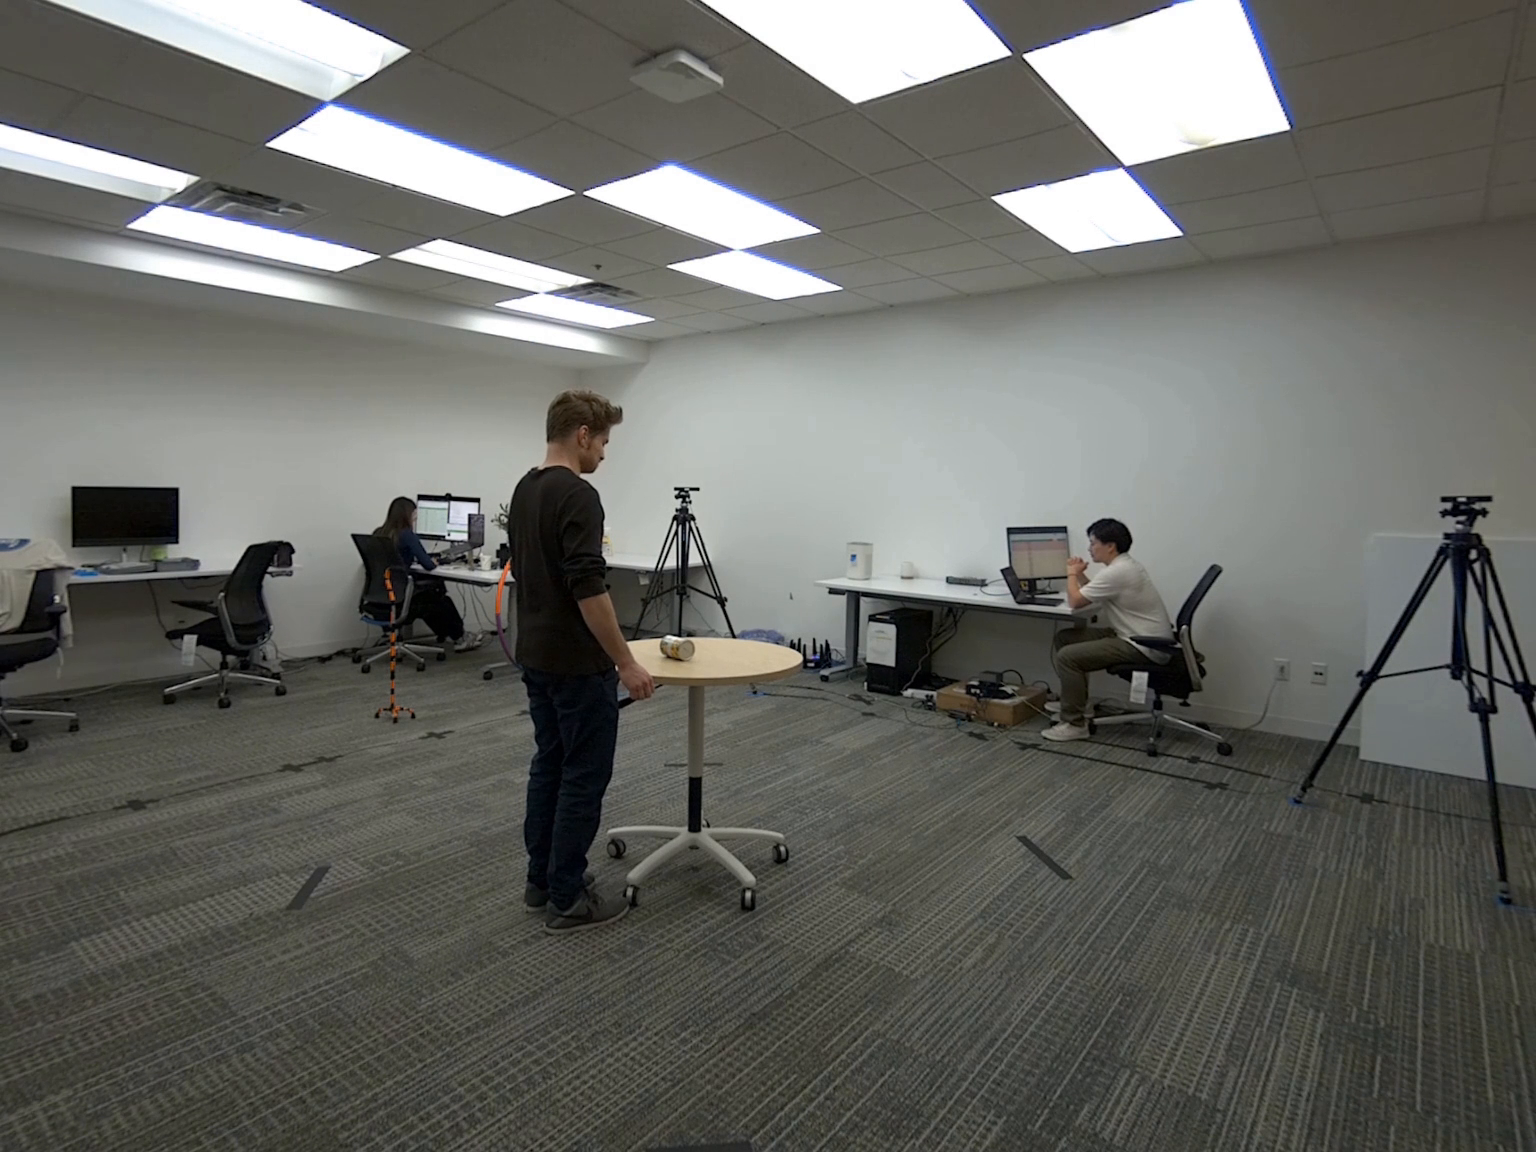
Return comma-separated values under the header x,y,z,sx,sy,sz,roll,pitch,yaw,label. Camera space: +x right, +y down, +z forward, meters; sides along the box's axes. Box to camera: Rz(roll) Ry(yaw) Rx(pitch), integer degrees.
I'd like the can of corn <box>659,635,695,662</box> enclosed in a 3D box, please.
x,y,z,sx,sy,sz,roll,pitch,yaw,label
-0.331,0.252,3.010,0.072,0.074,0.115,-2,6,-40,can of corn
